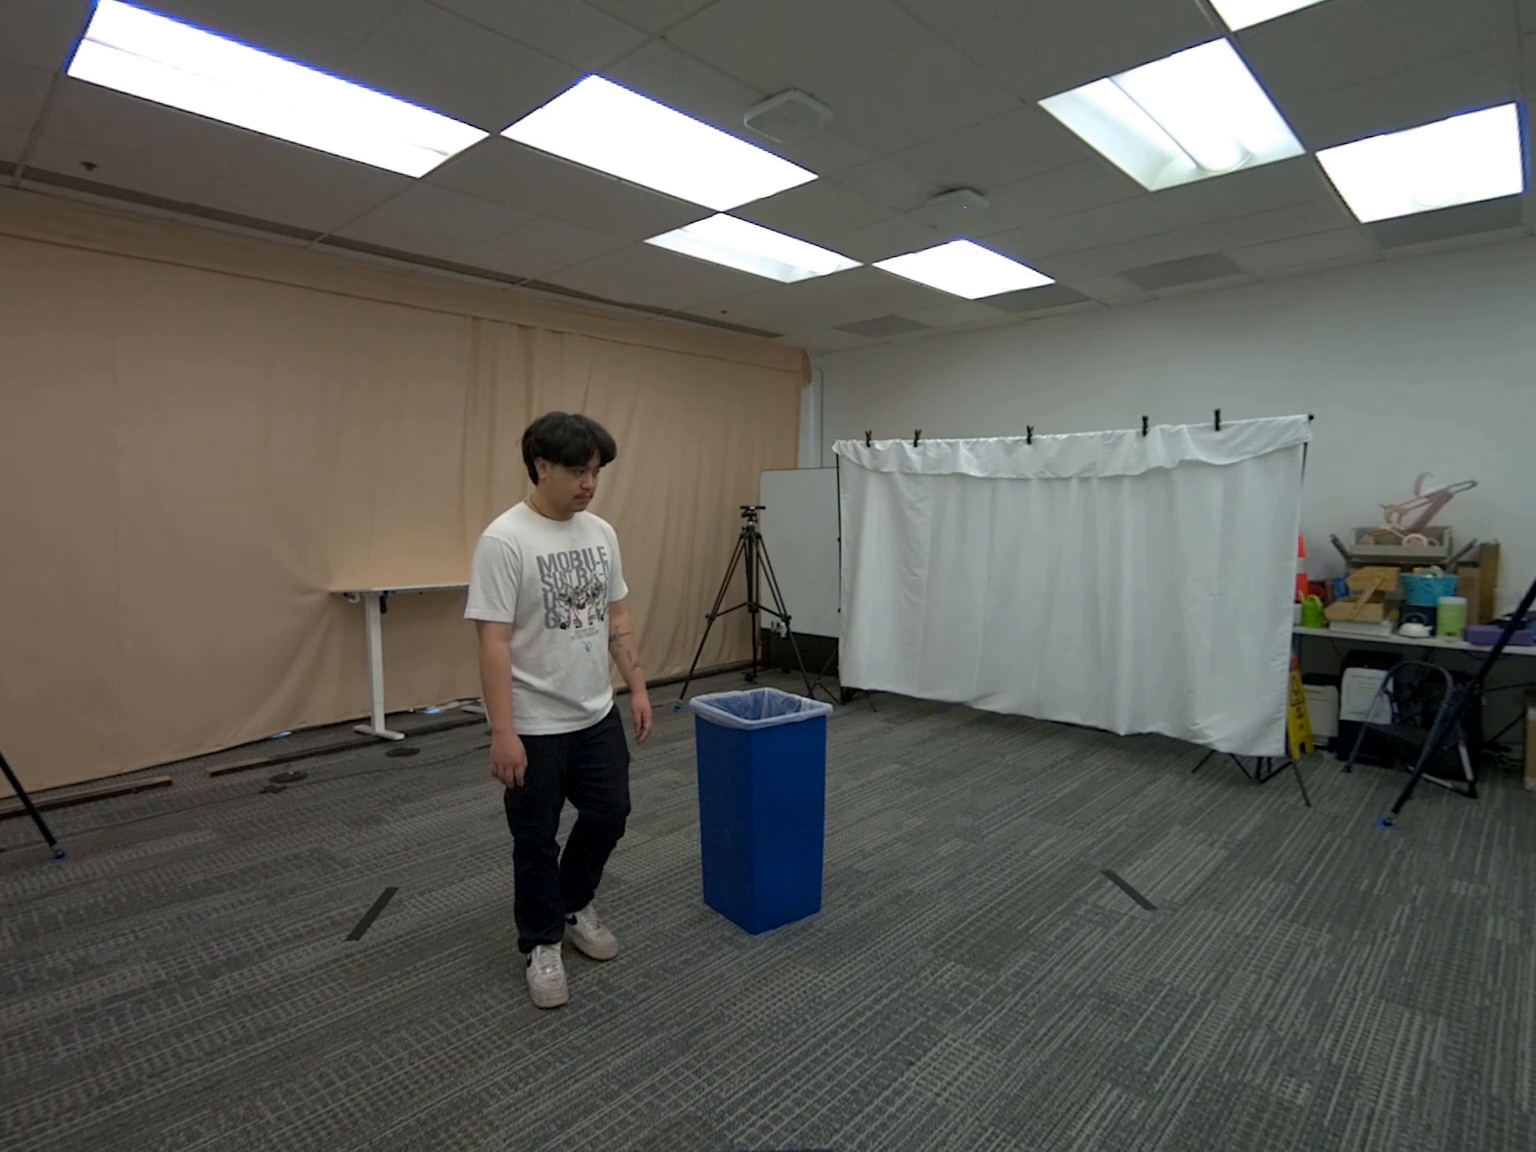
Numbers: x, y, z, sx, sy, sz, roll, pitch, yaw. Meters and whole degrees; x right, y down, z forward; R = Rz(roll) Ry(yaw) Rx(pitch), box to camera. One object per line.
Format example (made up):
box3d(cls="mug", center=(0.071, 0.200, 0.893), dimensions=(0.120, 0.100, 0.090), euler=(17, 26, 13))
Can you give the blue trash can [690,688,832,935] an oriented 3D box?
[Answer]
box3d(cls="blue trash can", center=(-0.025, 0.792, 2.907), dimensions=(0.363, 0.712, 0.390), euler=(-2, 4, -37))
